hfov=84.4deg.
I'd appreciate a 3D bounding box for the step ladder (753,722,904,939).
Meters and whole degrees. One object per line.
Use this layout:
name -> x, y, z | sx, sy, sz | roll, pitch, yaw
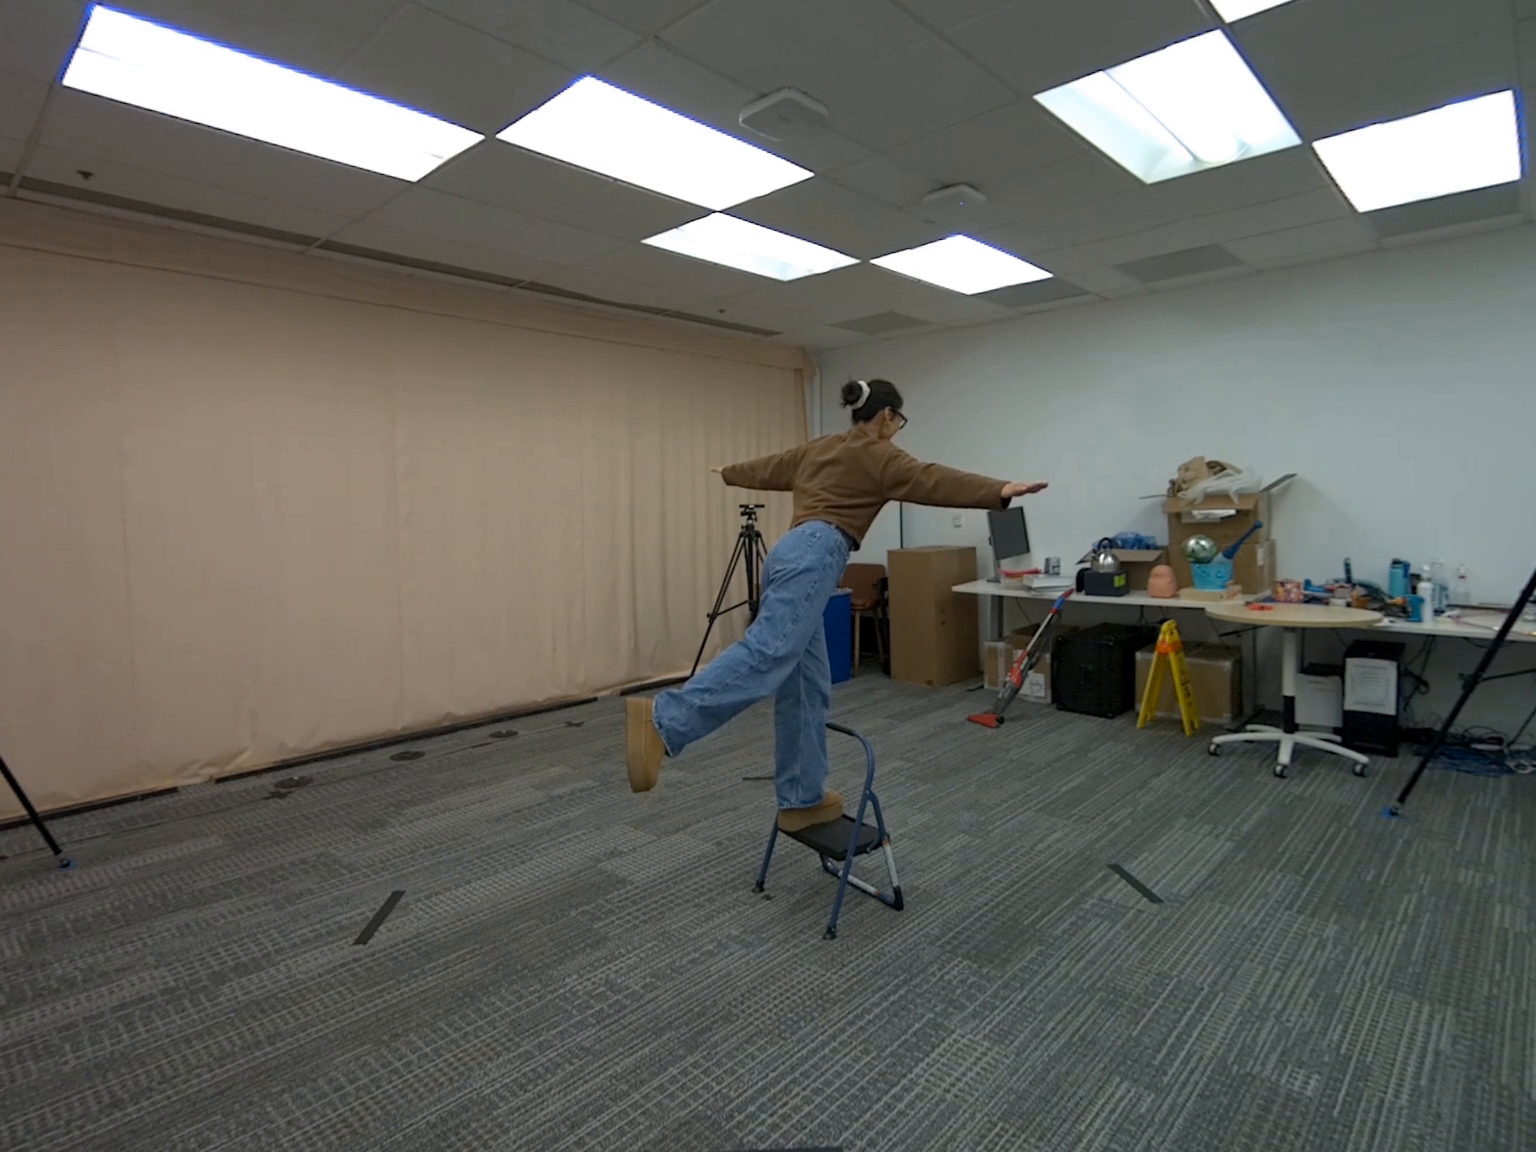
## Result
step ladder -> 0.209, 0.838, 2.938 | 0.339, 0.605, 0.444 | -3, 4, -35
